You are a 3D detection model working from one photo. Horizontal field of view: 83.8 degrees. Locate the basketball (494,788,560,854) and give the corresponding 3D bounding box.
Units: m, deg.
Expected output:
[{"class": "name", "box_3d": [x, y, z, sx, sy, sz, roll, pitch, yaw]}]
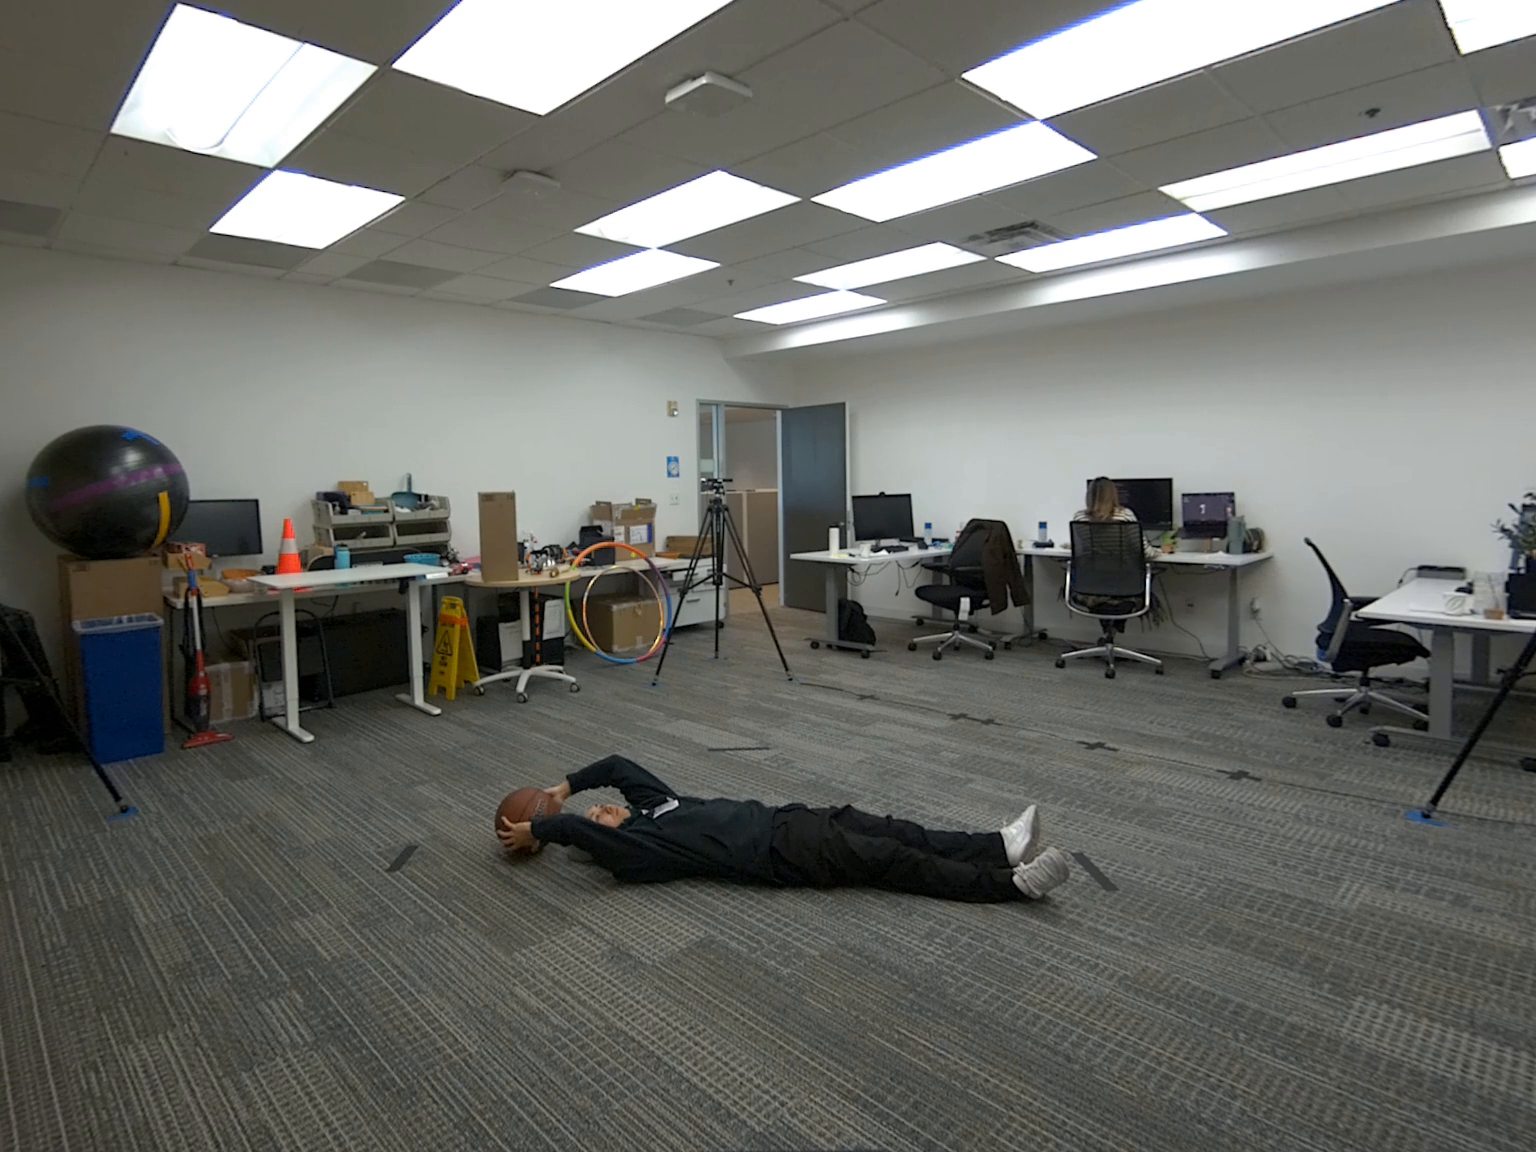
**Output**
[{"class": "basketball", "box_3d": [-0.921, 0.925, 3.245, 0.236, 0.235, 0.237, -1, 5, -2]}]
